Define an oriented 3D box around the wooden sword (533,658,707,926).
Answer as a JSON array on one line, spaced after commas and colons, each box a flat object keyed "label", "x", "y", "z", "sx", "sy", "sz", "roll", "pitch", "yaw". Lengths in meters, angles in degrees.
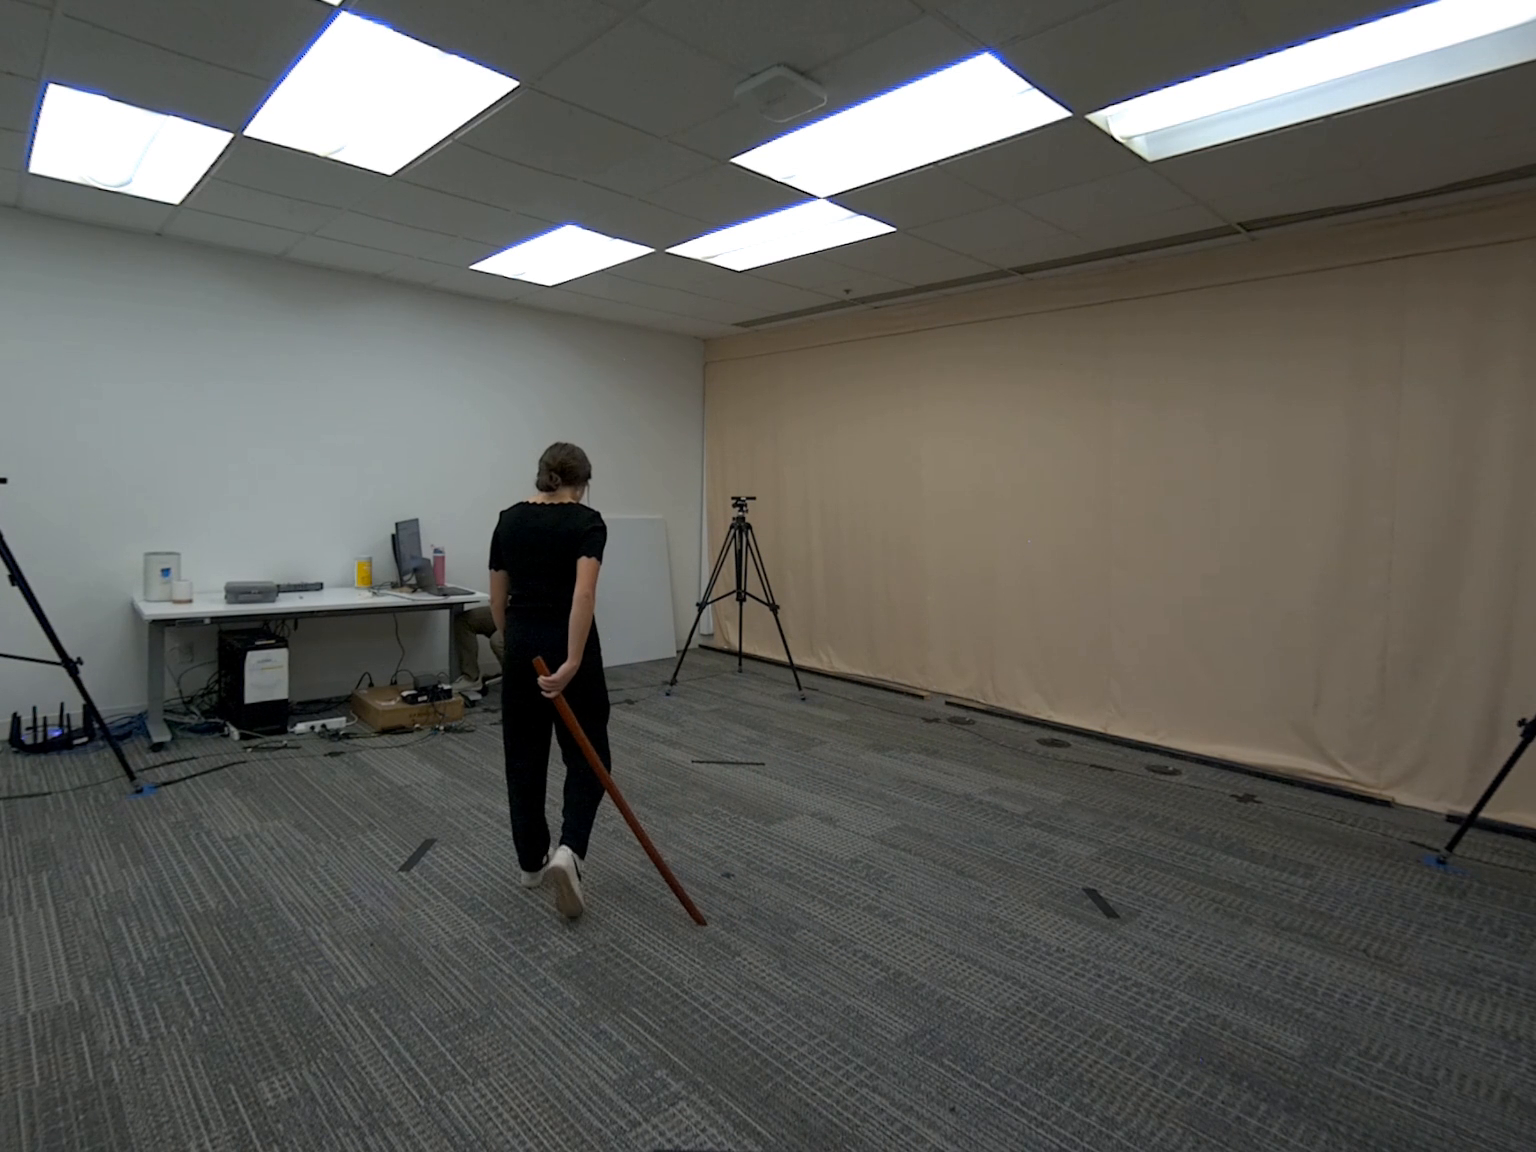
[{"label": "wooden sword", "x": -0.490, "y": 0.721, "z": 2.740, "sx": 0.024, "sy": 1.023, "sz": 0.051, "roll": -33, "pitch": 2, "yaw": -15}]
